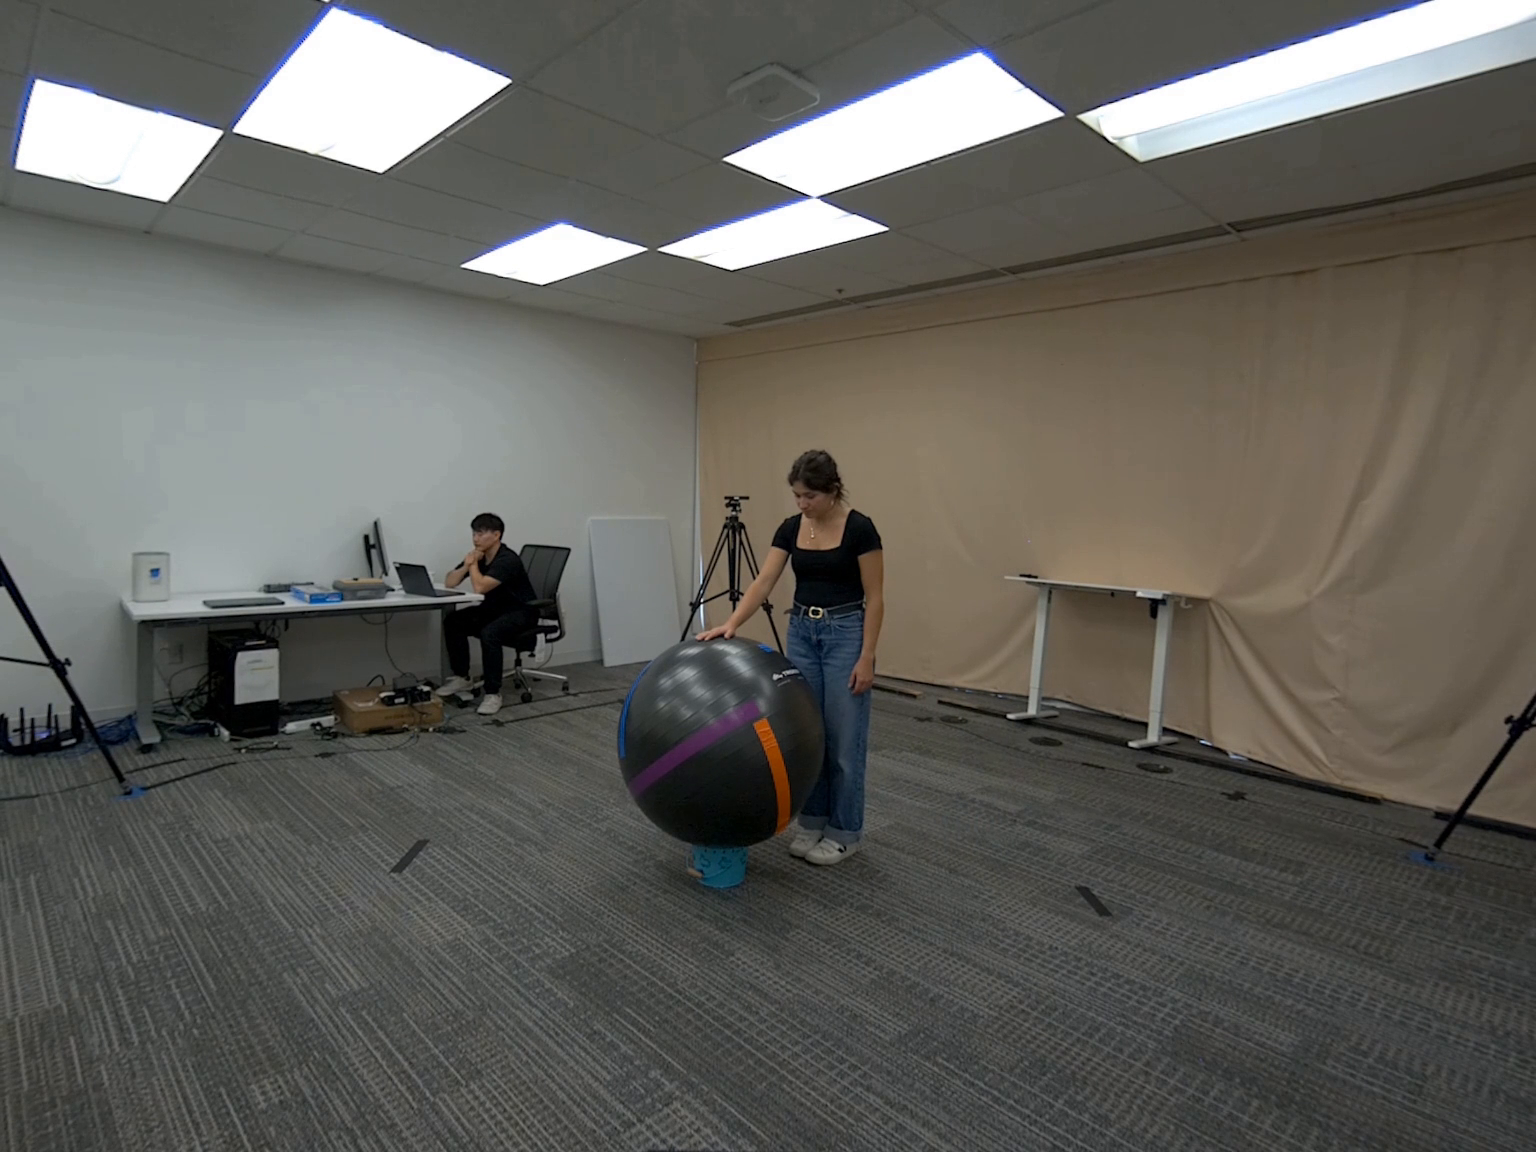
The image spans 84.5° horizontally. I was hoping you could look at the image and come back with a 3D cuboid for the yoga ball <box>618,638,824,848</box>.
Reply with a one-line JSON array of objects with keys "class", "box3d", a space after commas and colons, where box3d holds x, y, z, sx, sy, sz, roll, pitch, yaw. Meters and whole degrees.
[{"class": "yoga ball", "box3d": [-0.178, 0.596, 3.068, 0.757, 0.756, 0.761, 1, 4, -1]}]
